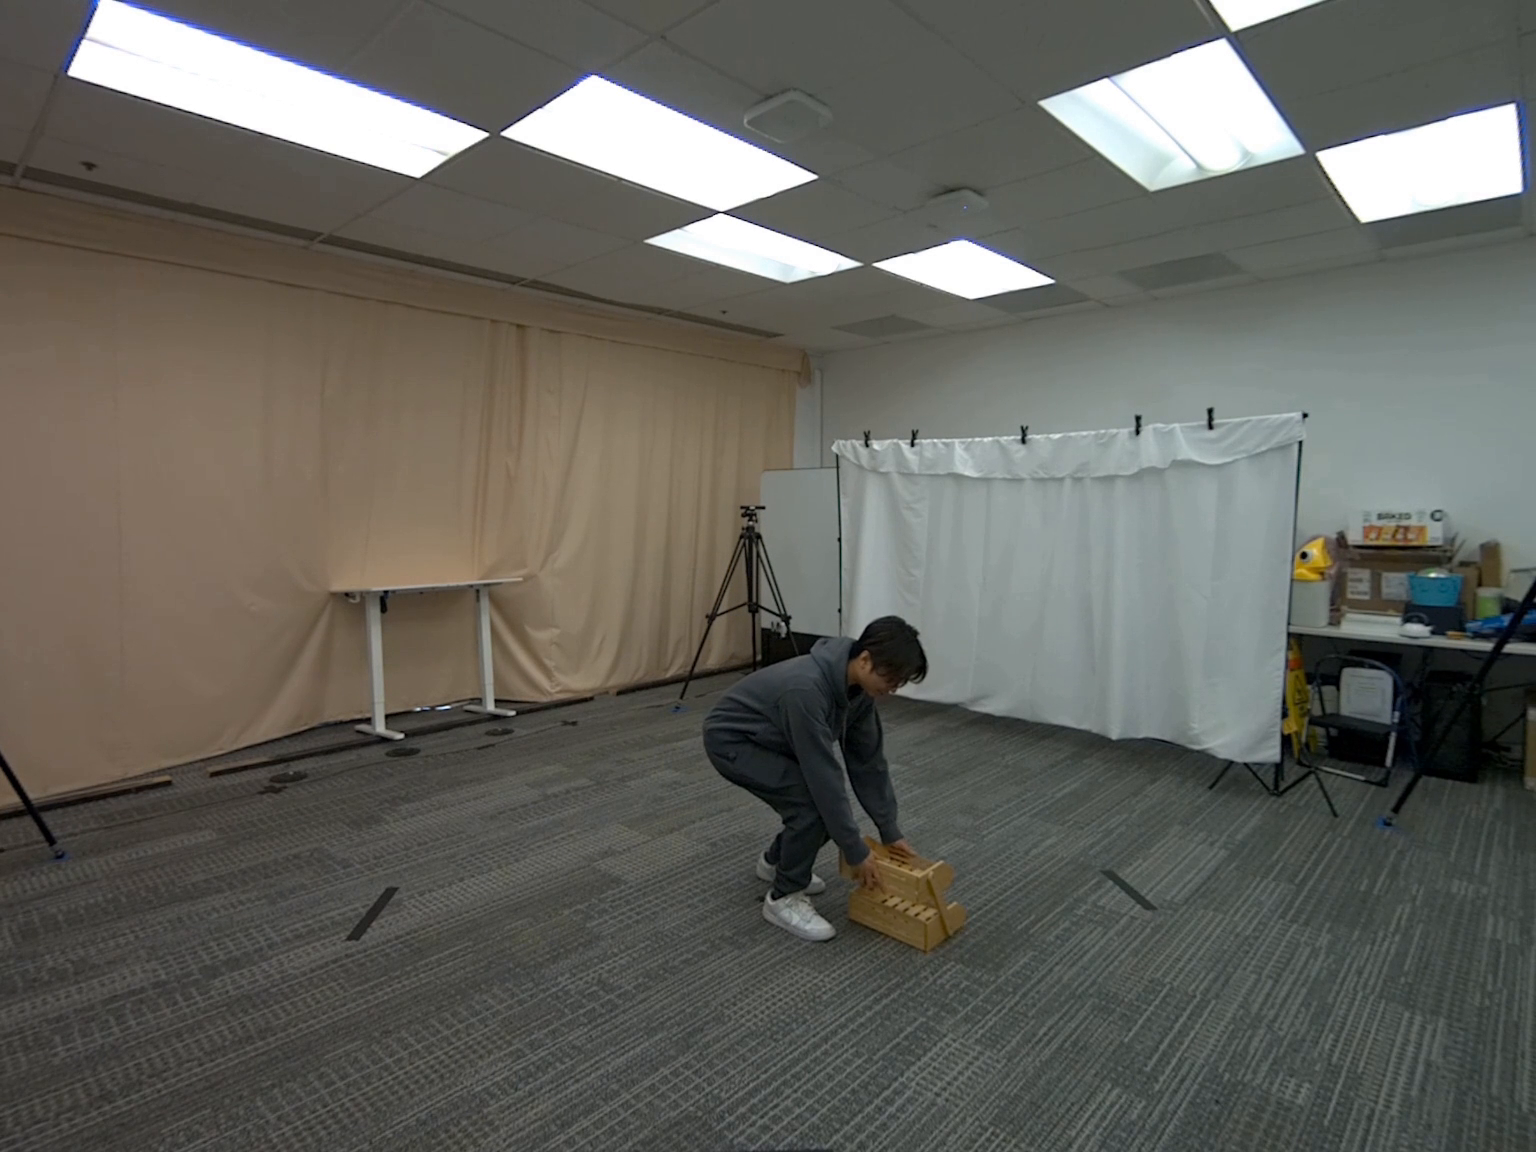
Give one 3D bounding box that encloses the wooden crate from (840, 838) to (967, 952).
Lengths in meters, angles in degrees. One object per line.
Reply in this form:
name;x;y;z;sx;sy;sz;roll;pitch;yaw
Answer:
wooden crate;0.454;1.017;2.782;0.335;0.272;0.293;4;8;42
